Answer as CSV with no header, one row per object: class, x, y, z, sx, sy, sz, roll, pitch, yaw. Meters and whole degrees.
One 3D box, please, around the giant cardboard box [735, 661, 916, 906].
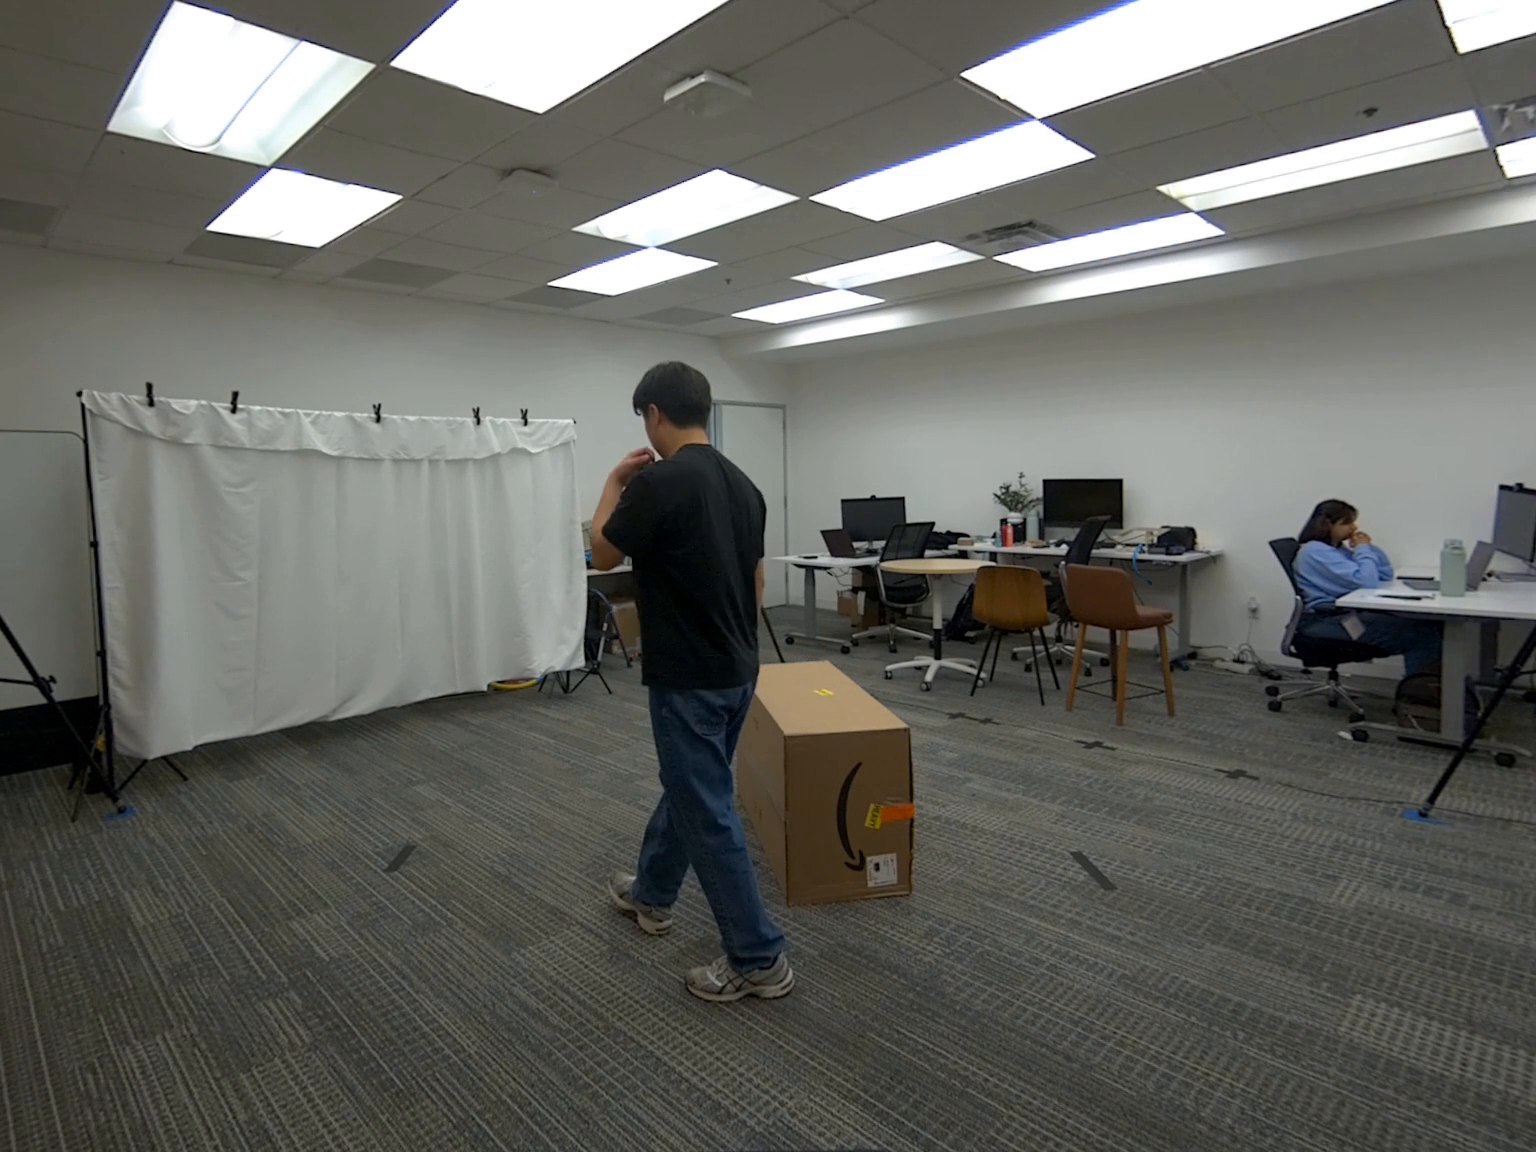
giant cardboard box,0.173,0.728,3.296,0.442,0.581,1.042,-1,6,-11
